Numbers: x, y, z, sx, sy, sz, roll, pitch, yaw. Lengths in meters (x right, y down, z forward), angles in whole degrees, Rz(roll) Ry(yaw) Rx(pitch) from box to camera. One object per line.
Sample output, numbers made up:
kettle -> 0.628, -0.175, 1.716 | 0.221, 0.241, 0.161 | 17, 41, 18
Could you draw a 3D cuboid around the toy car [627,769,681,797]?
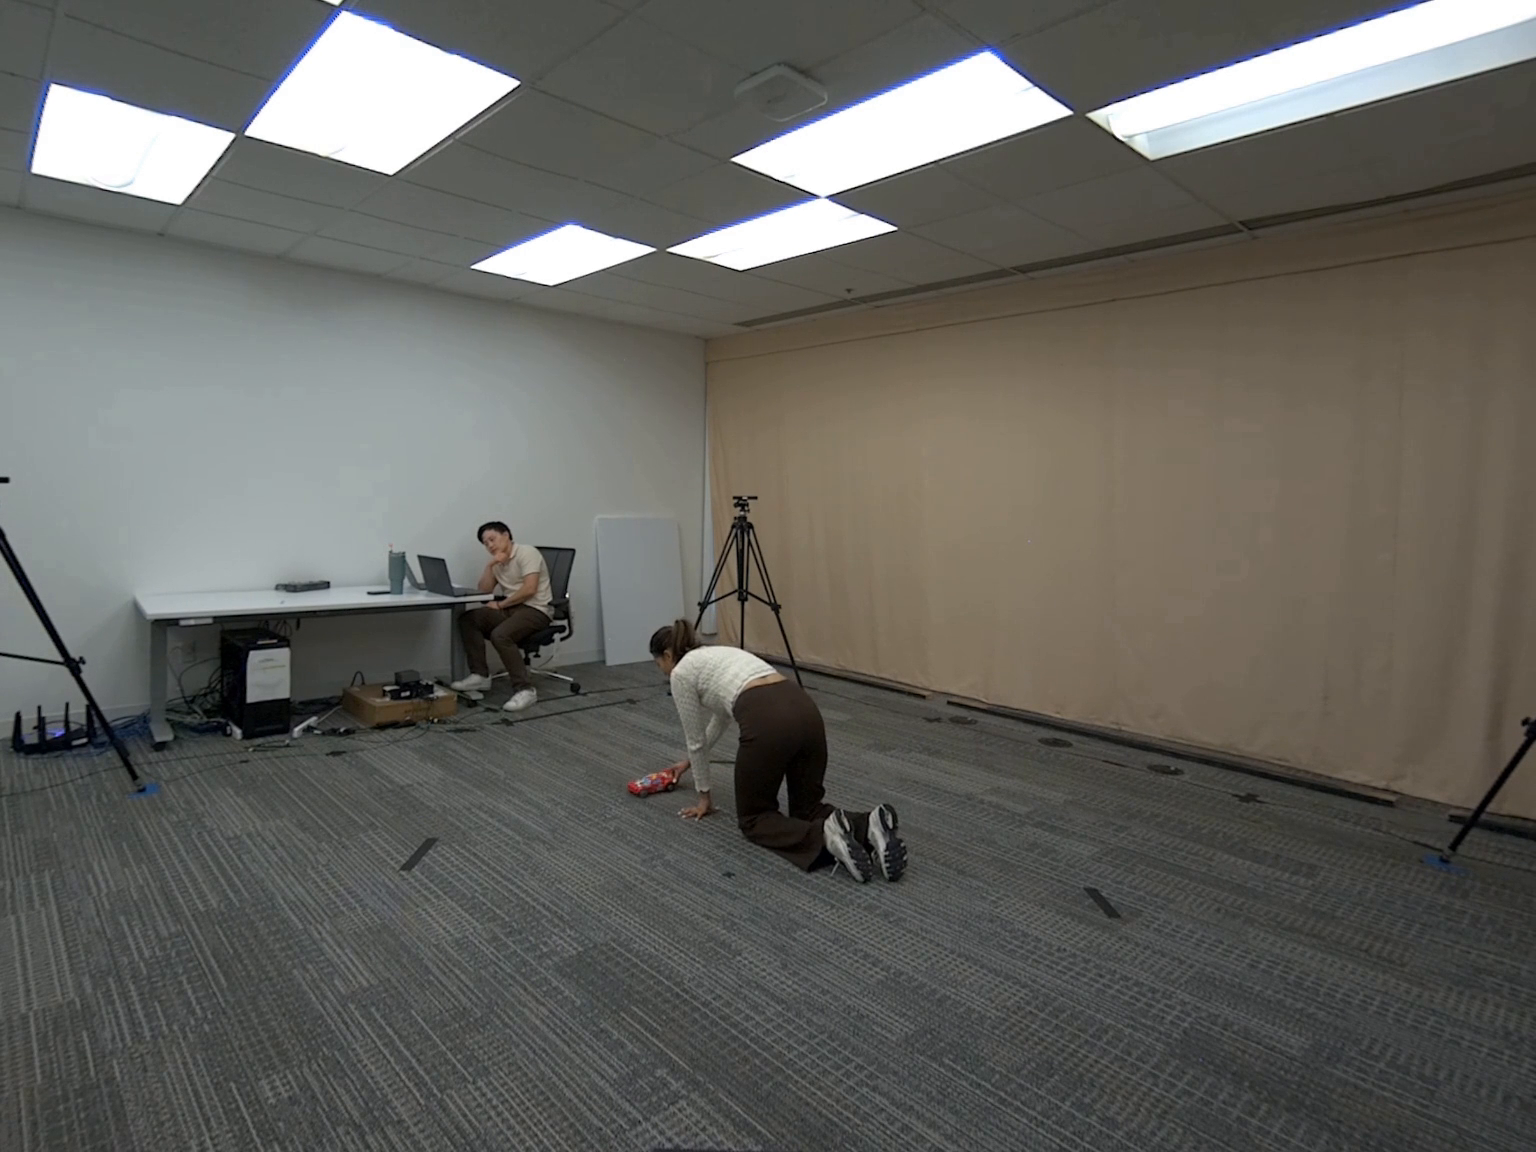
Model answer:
toy car -> -0.547, 0.984, 3.984 | 0.250, 0.082, 0.133 | -15, 12, -36
